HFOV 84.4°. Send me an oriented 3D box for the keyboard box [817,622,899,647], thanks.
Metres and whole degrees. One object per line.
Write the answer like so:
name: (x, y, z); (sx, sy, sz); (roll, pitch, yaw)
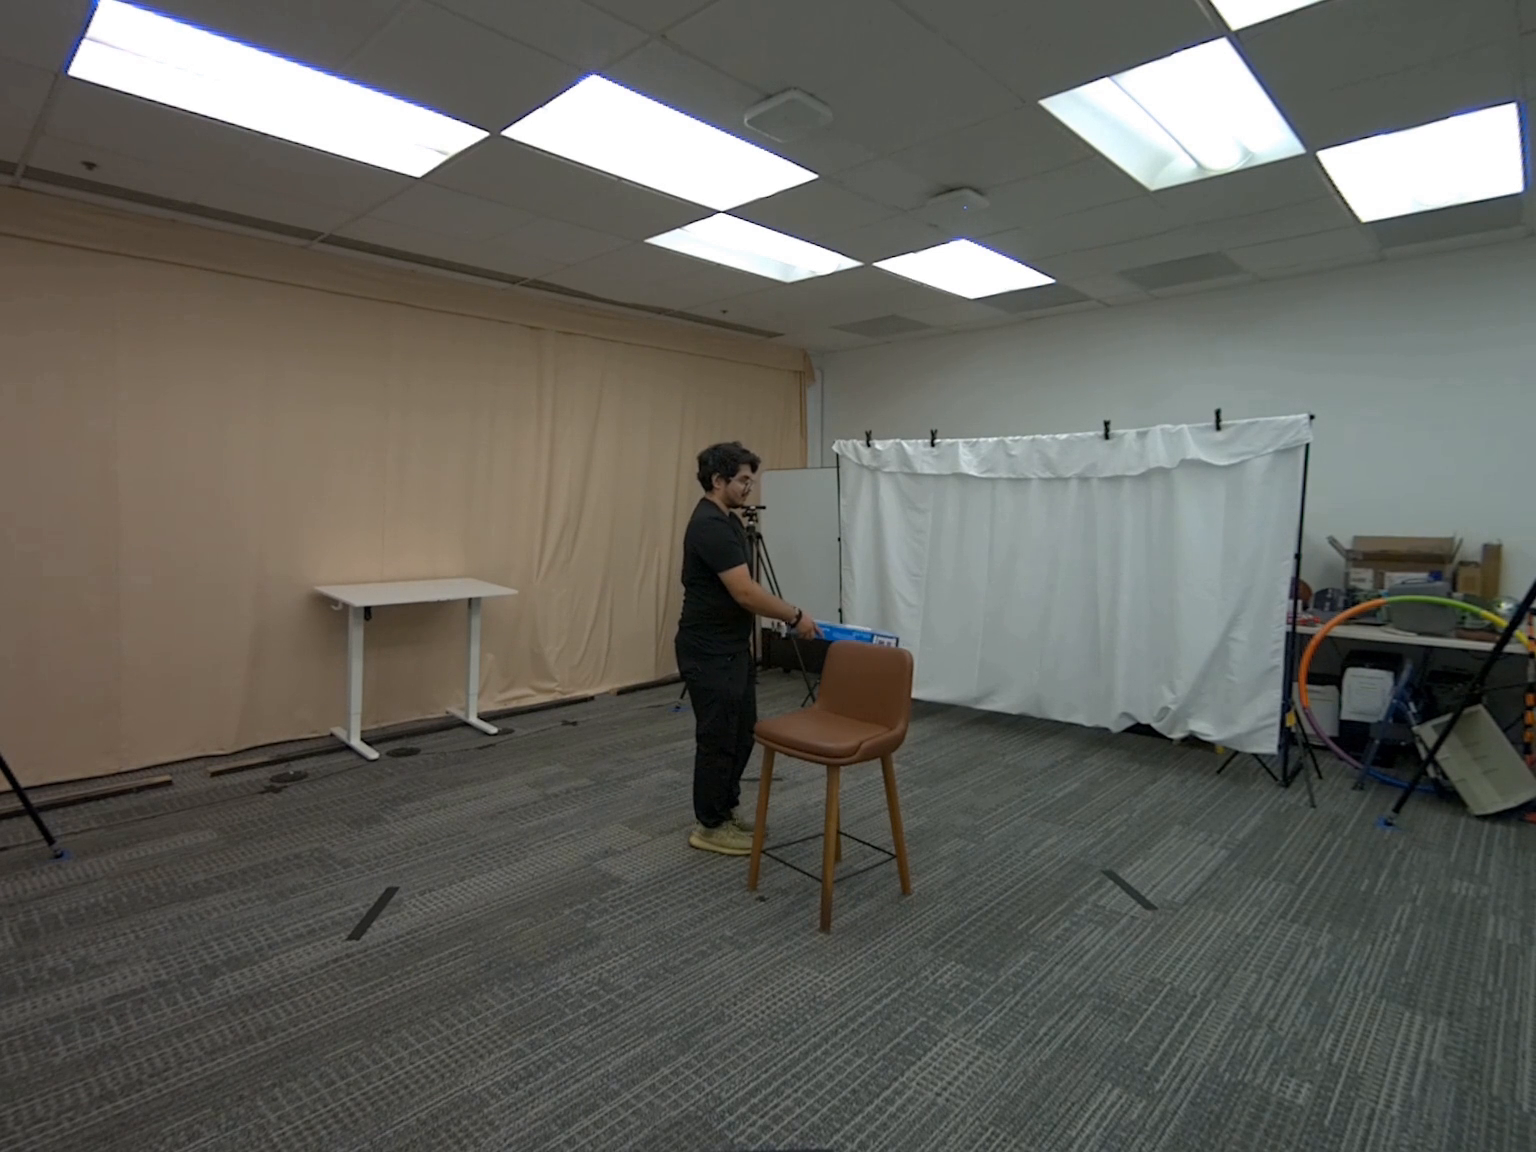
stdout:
keyboard box: (0.309, 0.236, 3.442); (0.438, 0.059, 0.175); (10, 3, 2)
